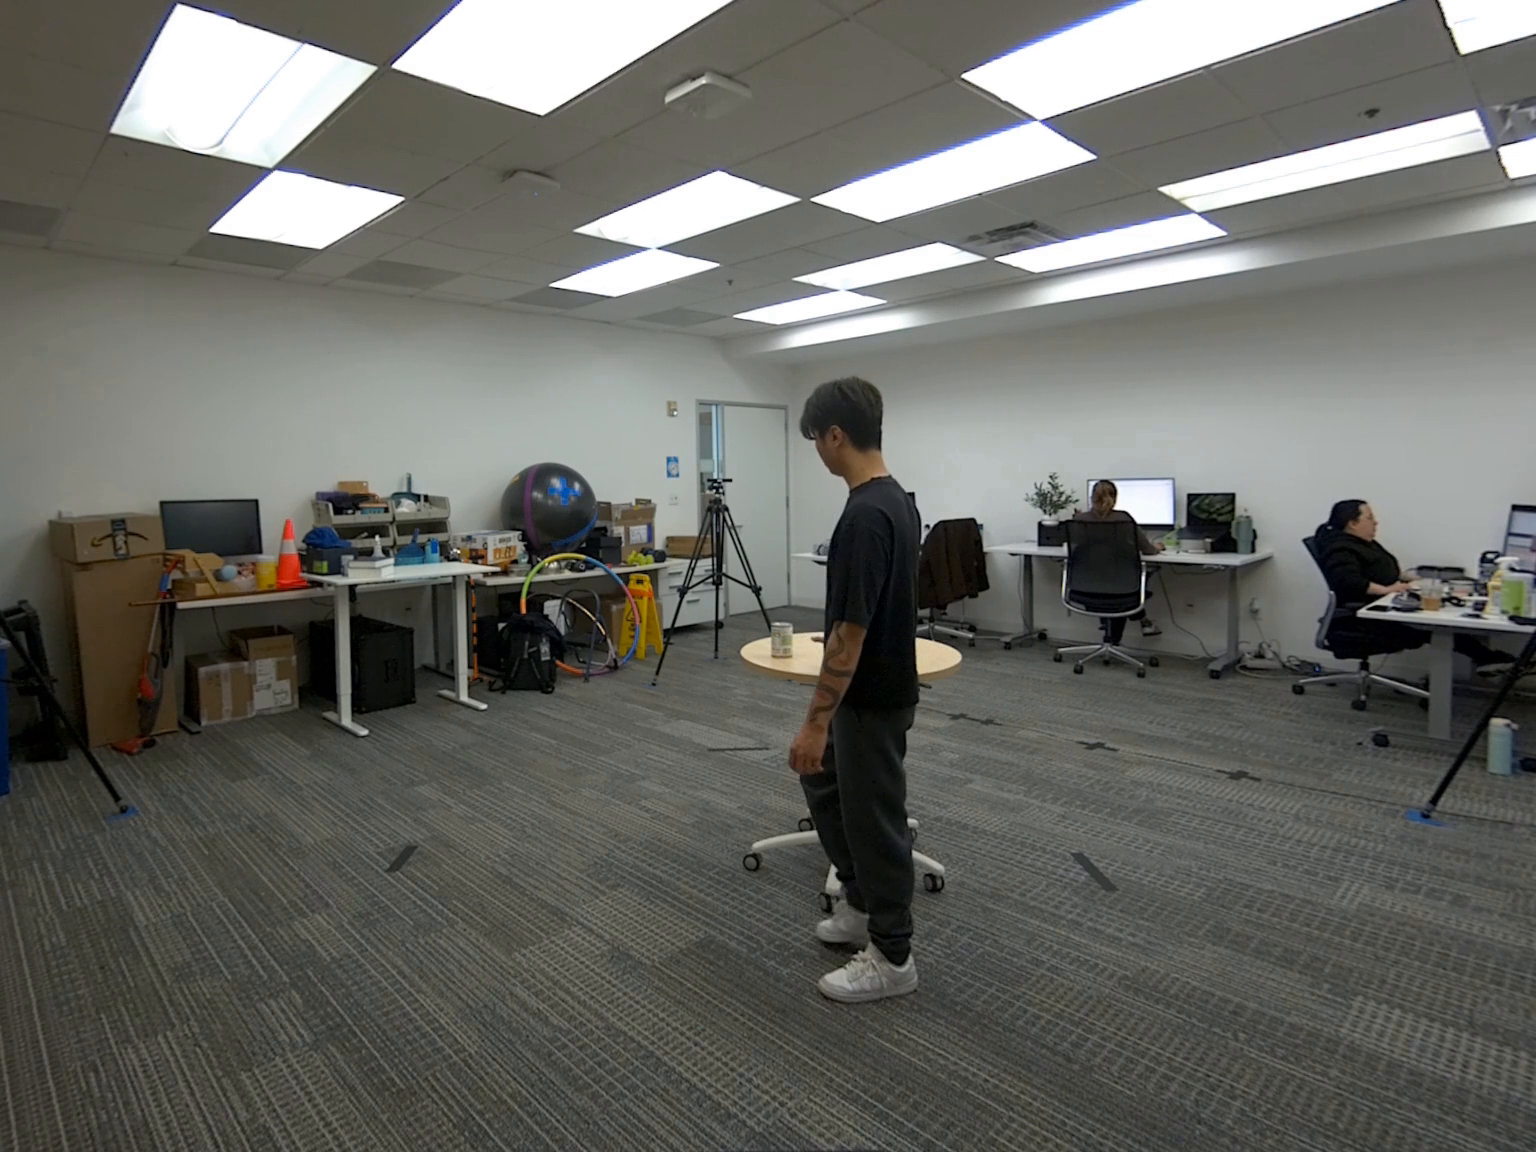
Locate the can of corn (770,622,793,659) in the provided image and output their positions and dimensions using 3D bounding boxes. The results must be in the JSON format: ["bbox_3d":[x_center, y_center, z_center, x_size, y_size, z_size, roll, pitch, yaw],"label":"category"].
[{"bbox_3d":[0.056,0.222,2.935,0.074,0.110,0.075,-1,7,-1],"label":"can of corn"}]
